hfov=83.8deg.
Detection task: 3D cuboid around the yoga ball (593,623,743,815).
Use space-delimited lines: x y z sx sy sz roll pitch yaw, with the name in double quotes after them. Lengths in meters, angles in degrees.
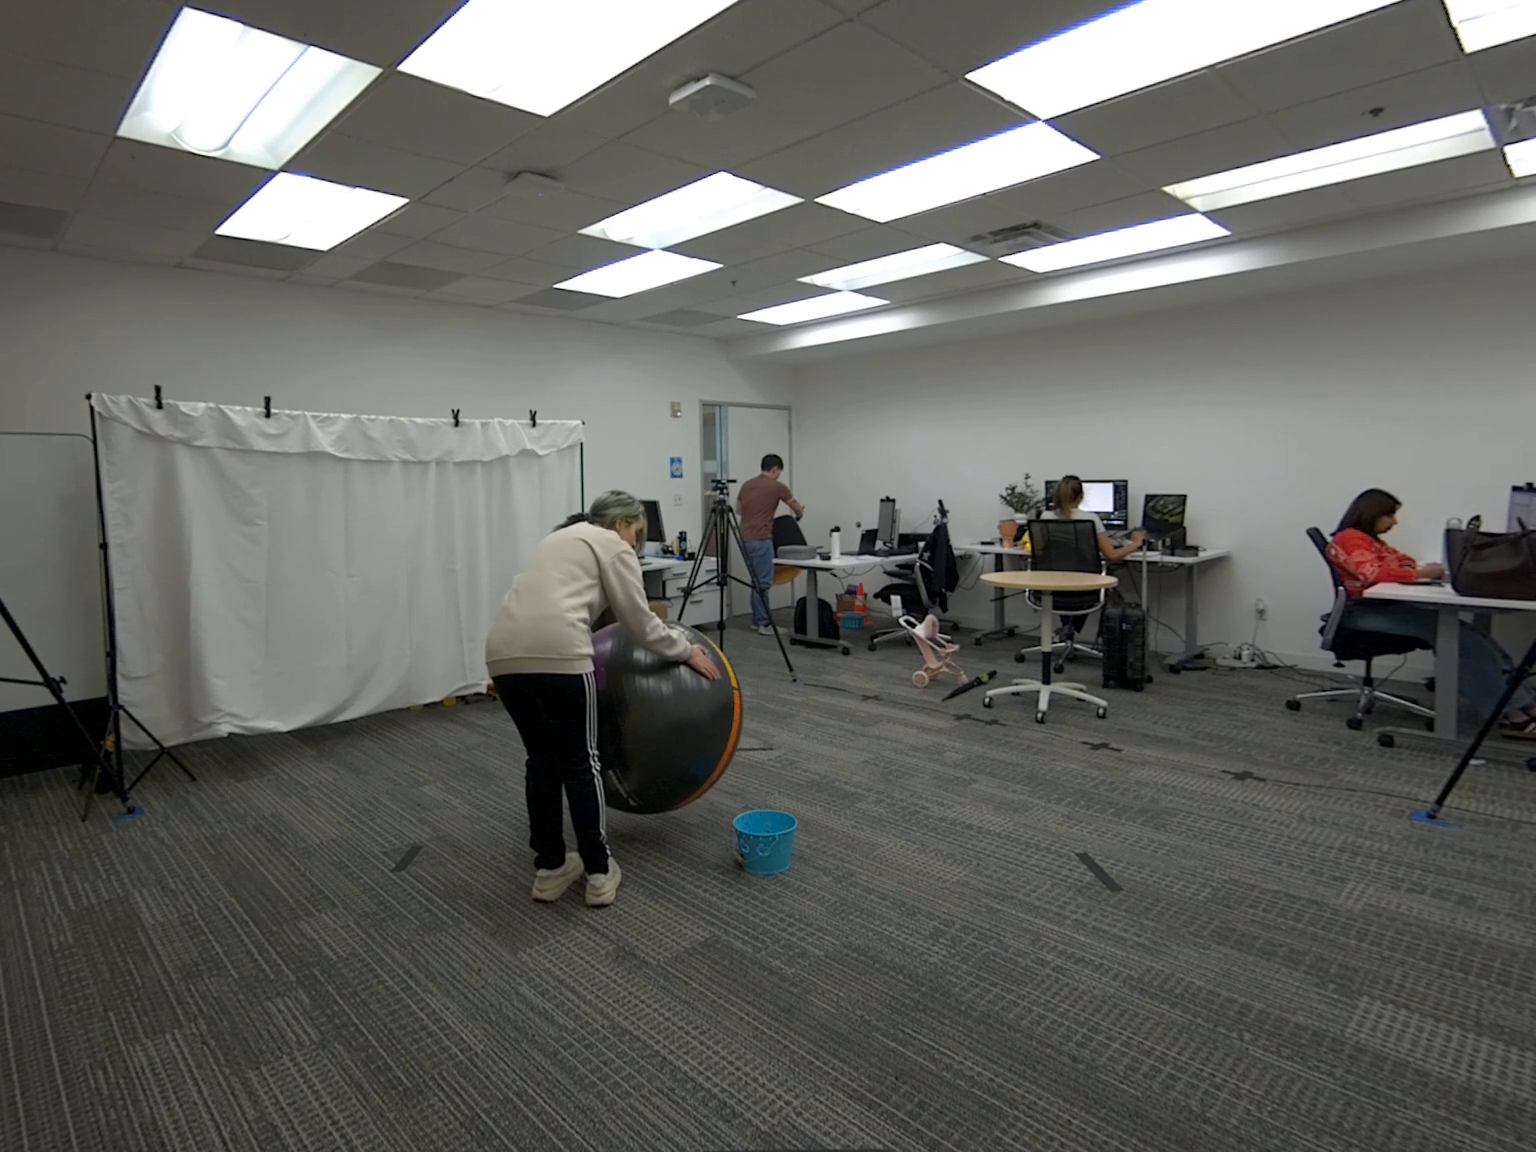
-0.466 0.548 3.386 0.757 0.755 0.762 -1 5 -2 "yoga ball"
